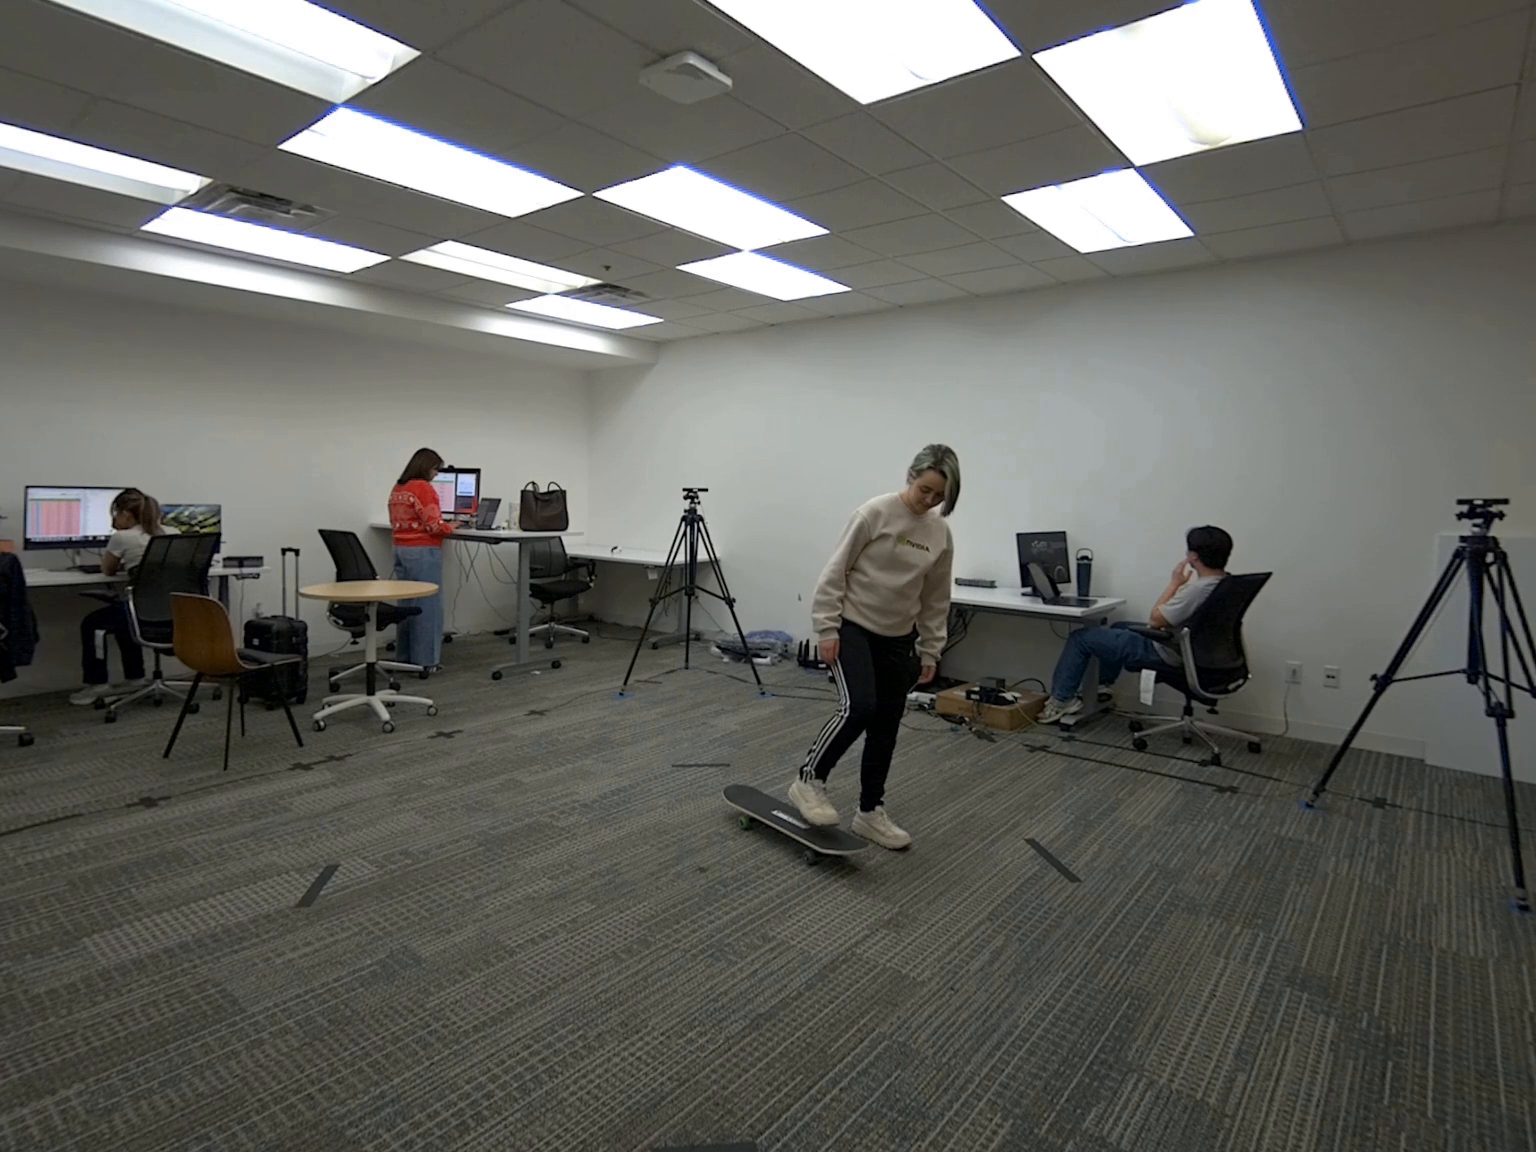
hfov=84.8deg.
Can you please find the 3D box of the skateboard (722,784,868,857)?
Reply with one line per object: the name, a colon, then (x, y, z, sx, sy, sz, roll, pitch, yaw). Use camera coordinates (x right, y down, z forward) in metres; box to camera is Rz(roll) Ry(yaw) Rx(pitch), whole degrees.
skateboard: (0.083, 0.989, 3.377, 0.188, 0.110, 0.812, -2, 6, -39)
